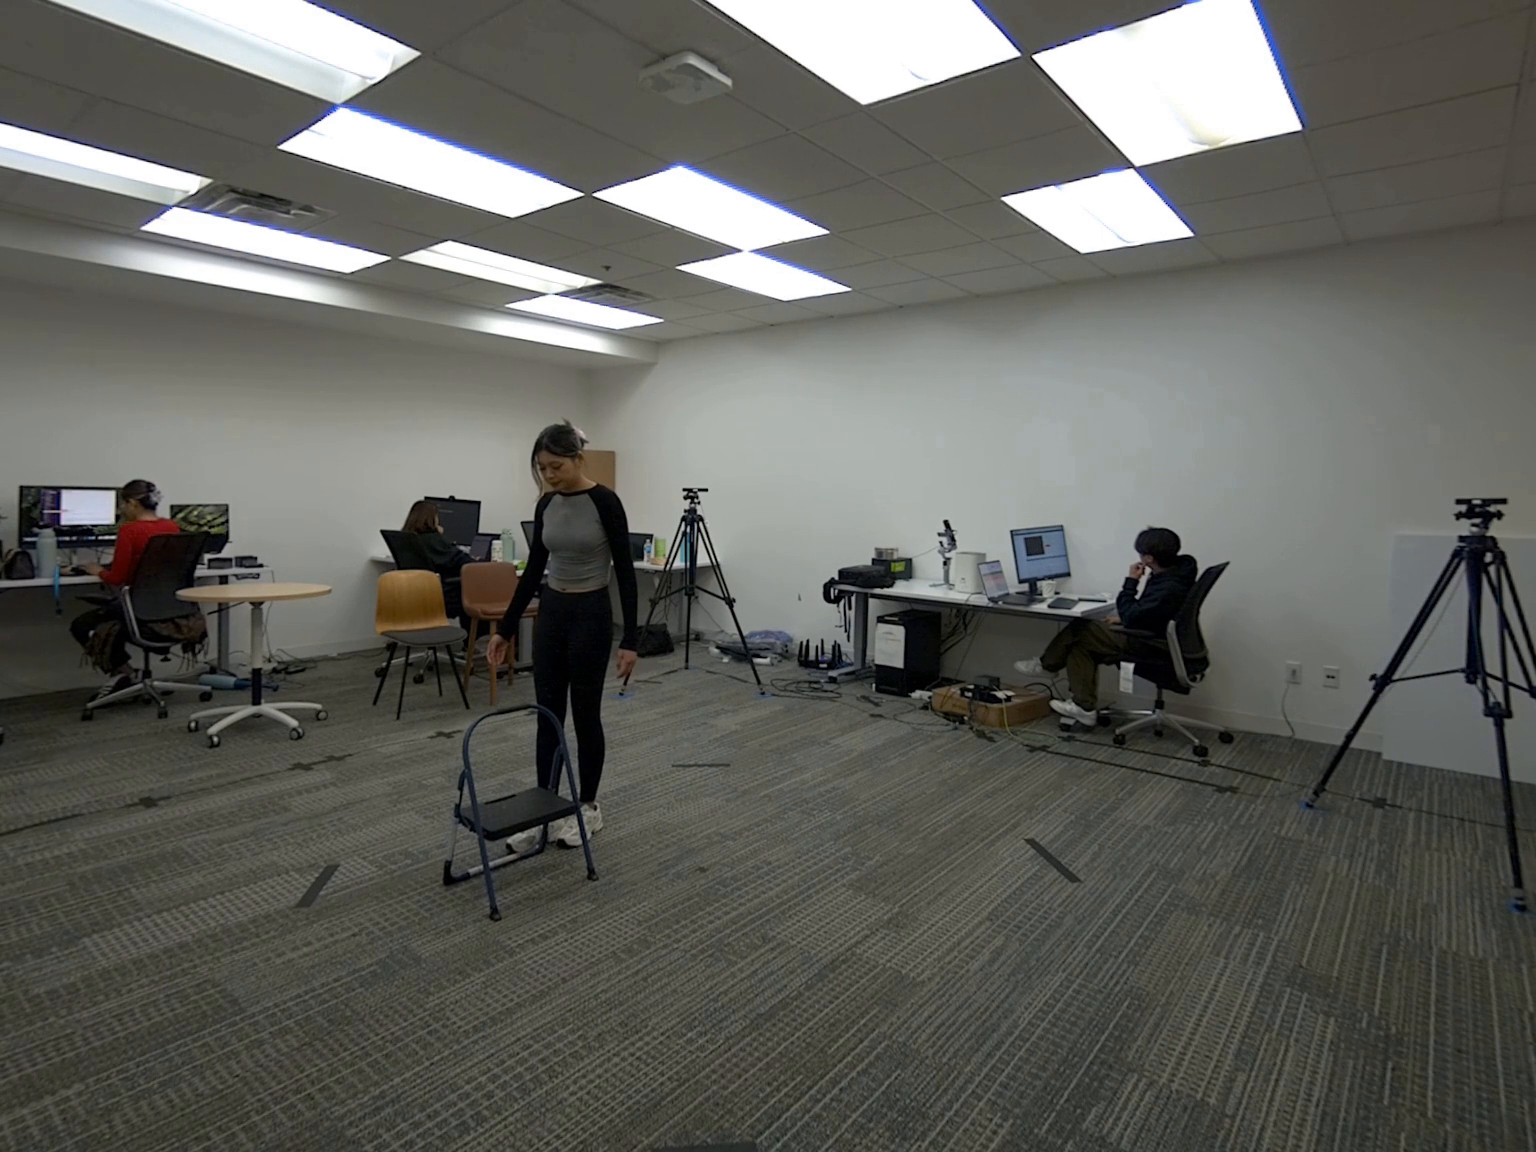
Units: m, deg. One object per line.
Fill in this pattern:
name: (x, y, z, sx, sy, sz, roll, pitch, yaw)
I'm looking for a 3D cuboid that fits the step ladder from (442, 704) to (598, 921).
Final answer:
step ladder: (-0.873, 0.771, 2.969, 0.361, 0.604, 0.417, 4, 4, 41)
